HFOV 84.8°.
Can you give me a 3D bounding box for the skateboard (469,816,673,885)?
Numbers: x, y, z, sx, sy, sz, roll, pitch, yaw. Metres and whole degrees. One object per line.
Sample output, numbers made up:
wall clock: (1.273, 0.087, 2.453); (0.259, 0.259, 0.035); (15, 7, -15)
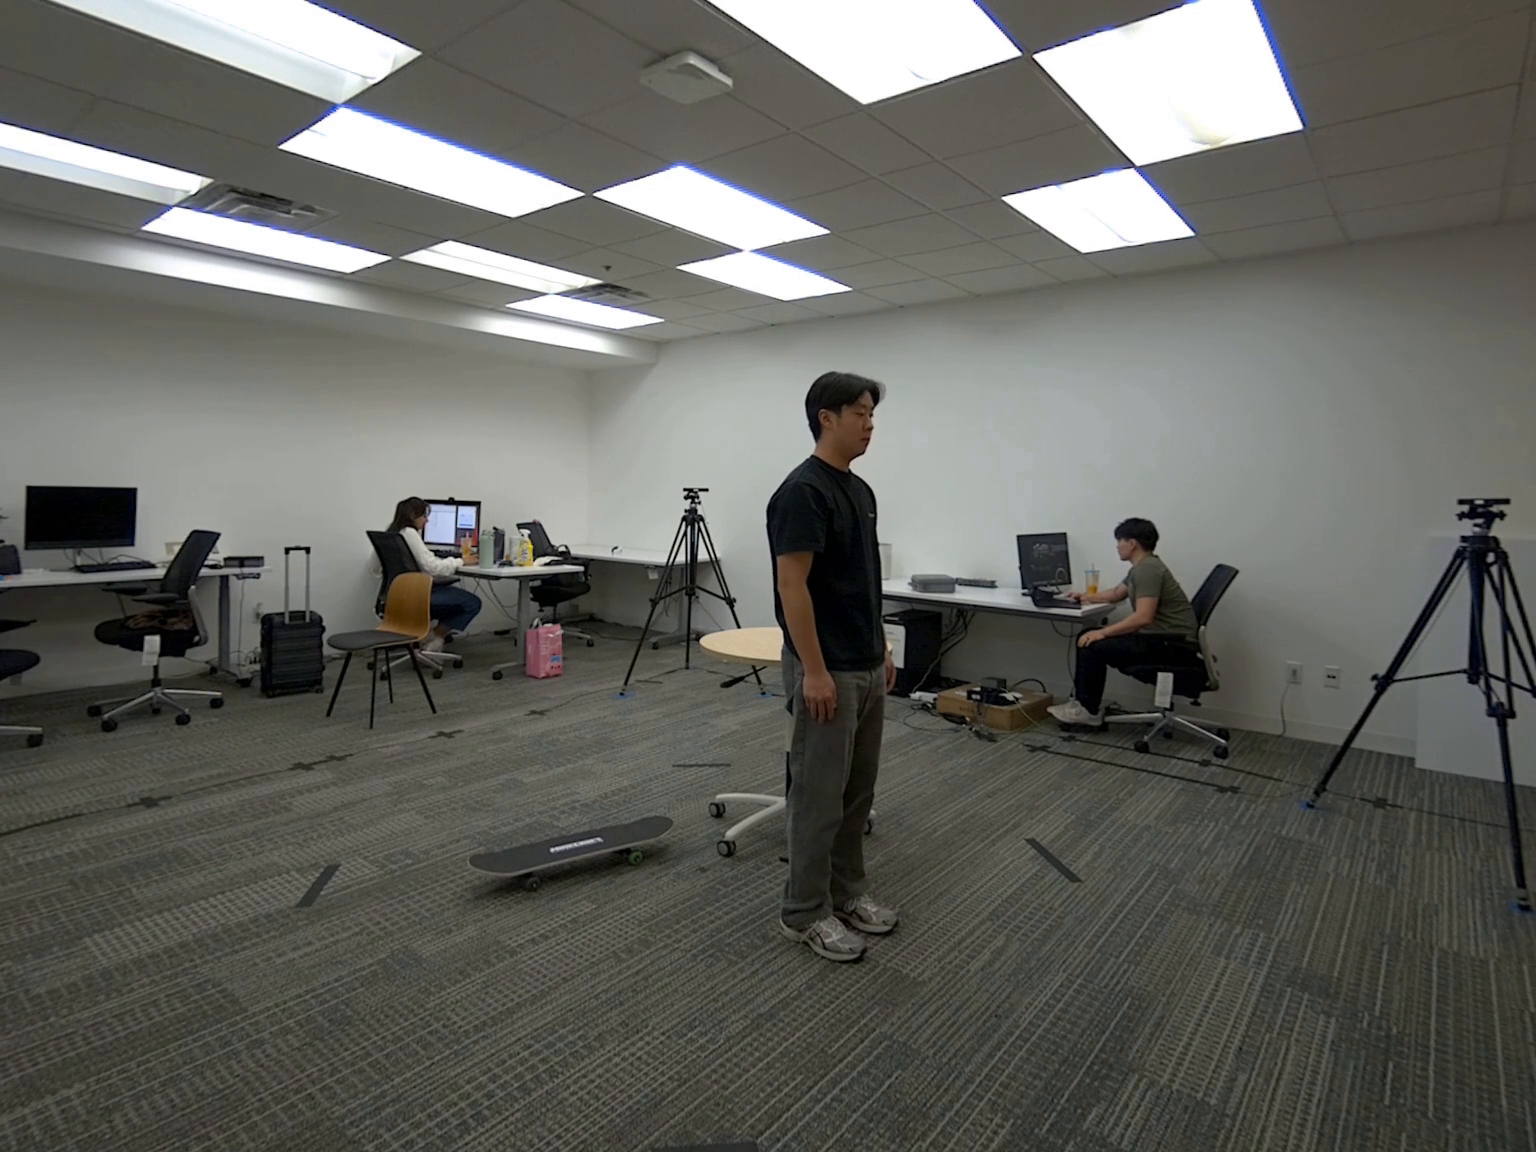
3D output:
skateboard: (-0.704, 1.006, 3.087); (0.763, 0.110, 0.199); (-3, 5, -34)
